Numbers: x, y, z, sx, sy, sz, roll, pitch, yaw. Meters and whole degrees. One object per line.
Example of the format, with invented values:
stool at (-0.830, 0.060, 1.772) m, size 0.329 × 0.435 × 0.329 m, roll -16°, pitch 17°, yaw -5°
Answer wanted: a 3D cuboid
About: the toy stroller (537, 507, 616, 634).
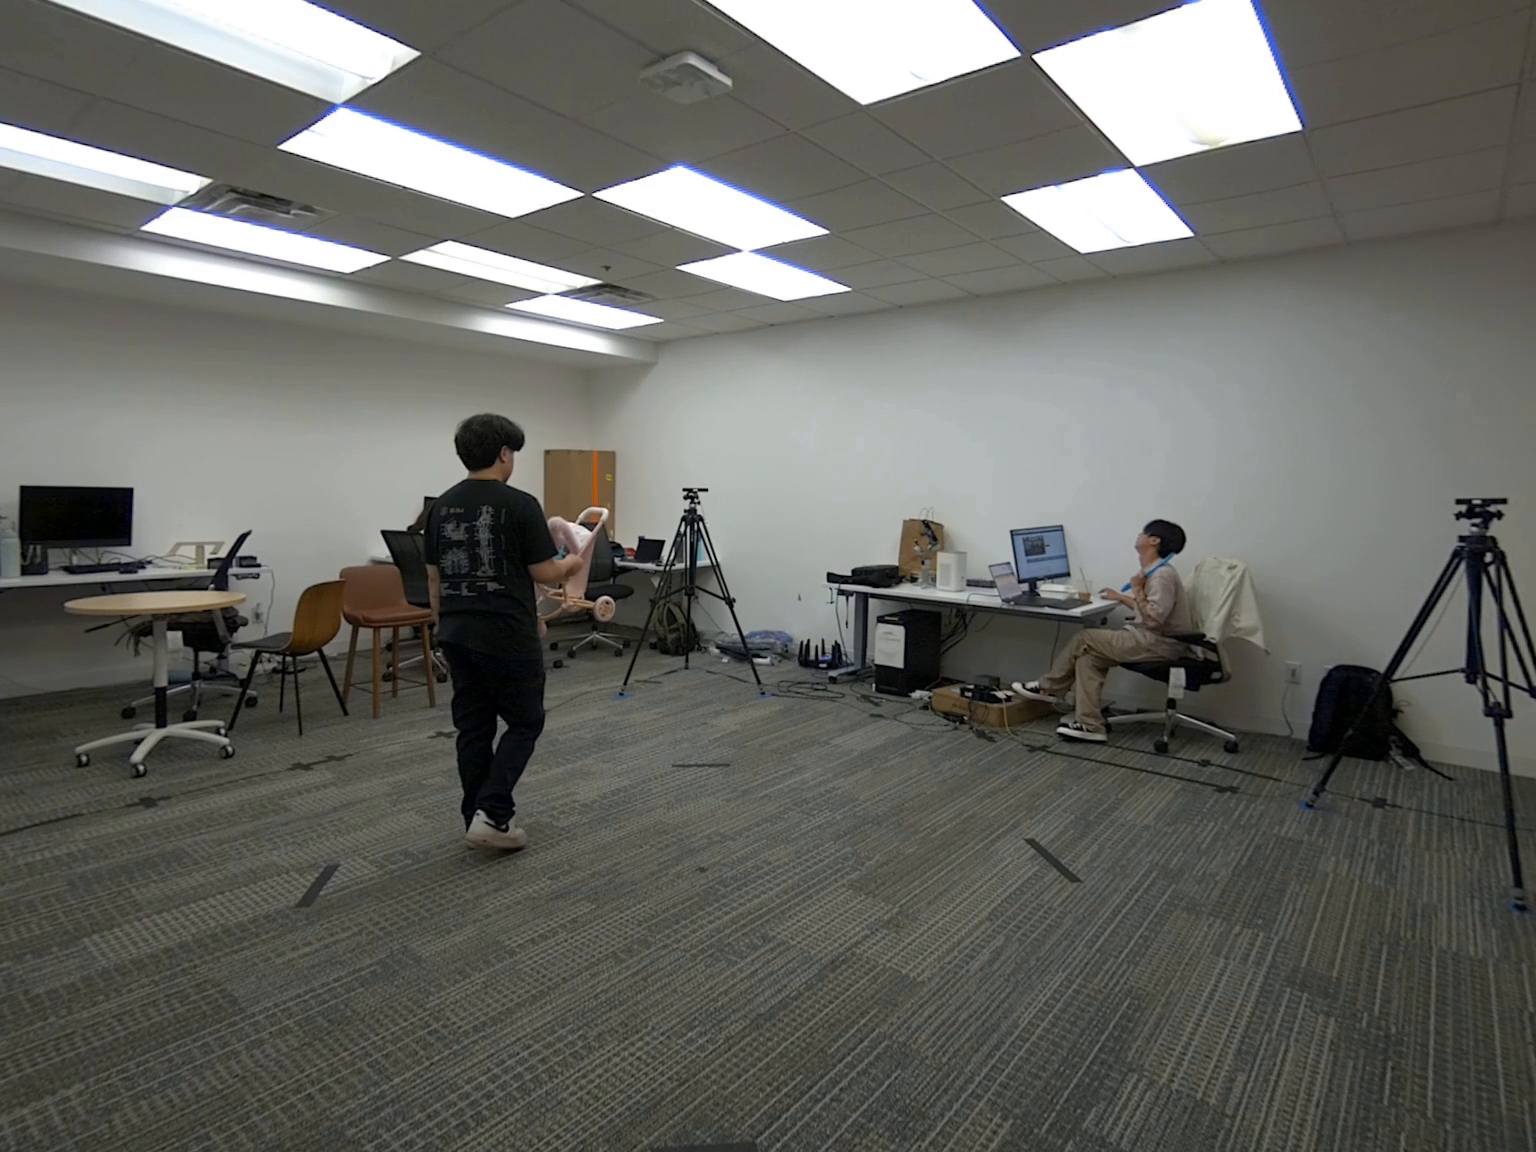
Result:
toy stroller at (-0.881, -0.019, 3.631) m, size 0.332 × 0.531 × 0.291 m, roll -5°, pitch 10°, yaw -38°
